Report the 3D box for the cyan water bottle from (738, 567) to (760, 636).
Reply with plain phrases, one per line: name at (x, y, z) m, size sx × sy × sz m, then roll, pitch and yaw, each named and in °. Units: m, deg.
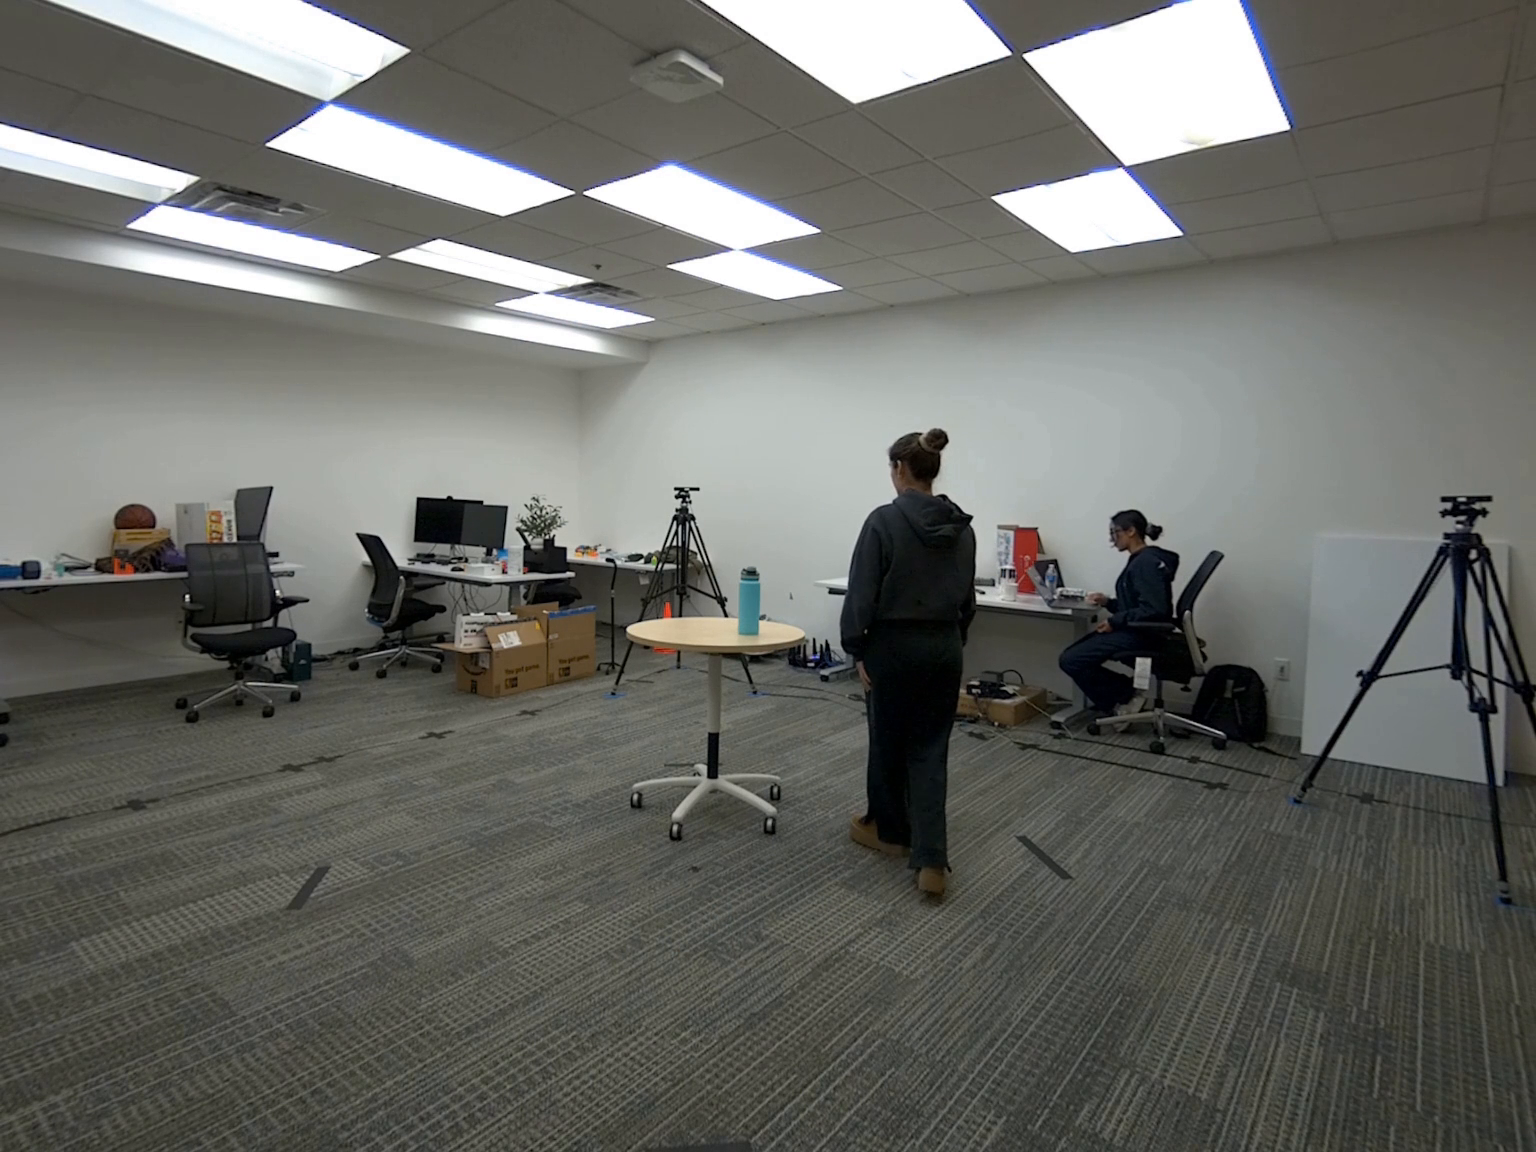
cyan water bottle at (-0.085, 0.099, 3.589) m, size 0.092 × 0.283 × 0.092 m, roll 0°, pitch 2°, yaw -2°
